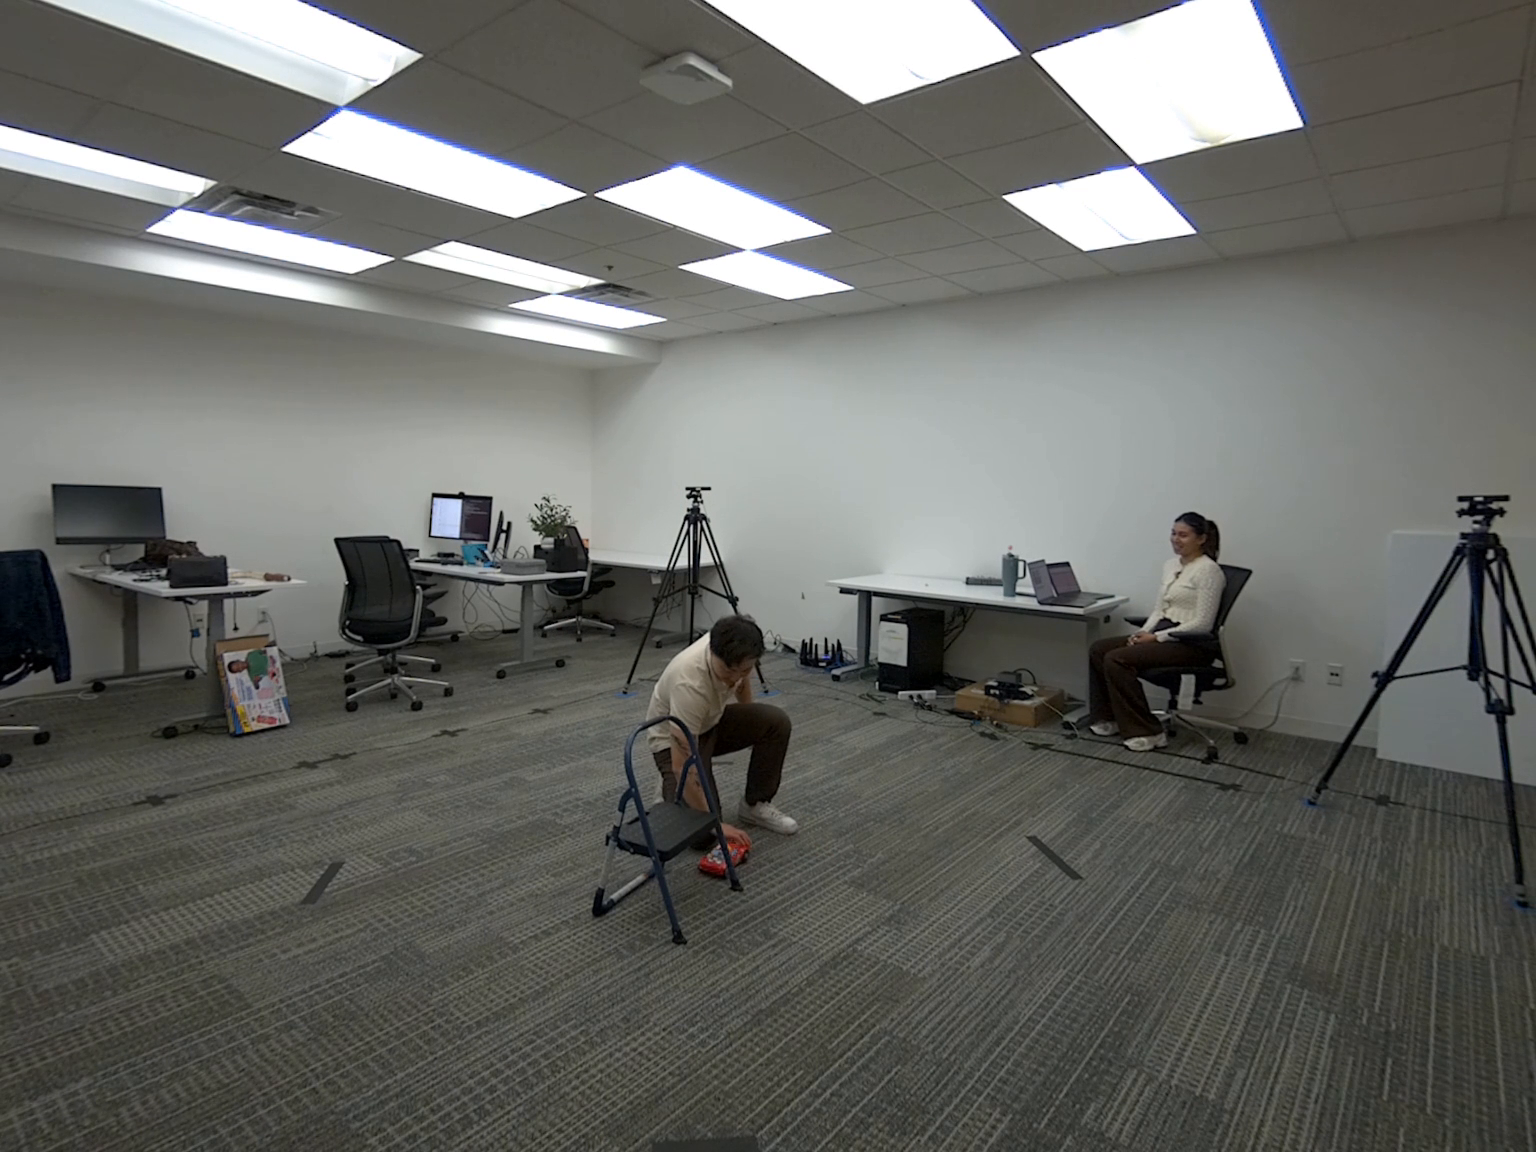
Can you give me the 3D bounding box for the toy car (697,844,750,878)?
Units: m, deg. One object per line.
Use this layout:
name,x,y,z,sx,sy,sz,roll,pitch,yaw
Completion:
toy car,-0.171,1.036,3.128,0.134,0.082,0.251,2,15,26
